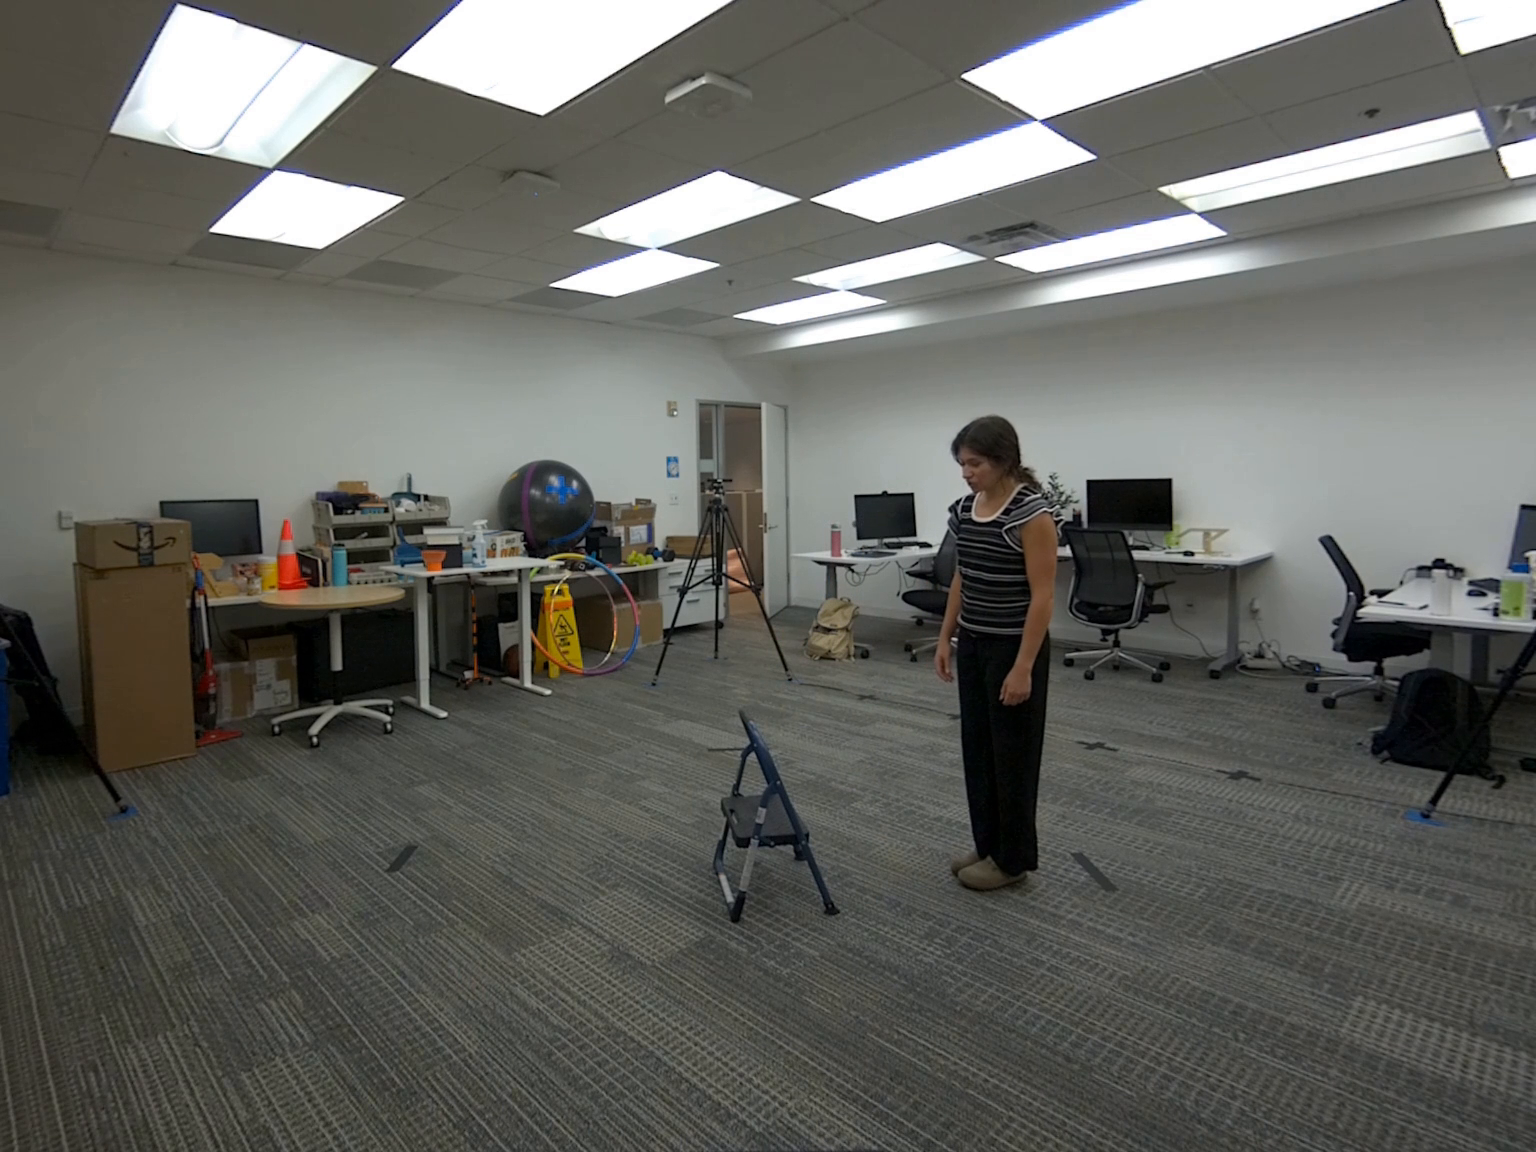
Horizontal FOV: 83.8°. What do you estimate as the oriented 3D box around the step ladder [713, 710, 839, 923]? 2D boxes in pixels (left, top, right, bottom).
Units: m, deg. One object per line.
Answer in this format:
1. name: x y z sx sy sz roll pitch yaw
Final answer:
1. step ladder: 0.009 0.767 2.899 0.346 0.604 0.437 -1 4 -11
